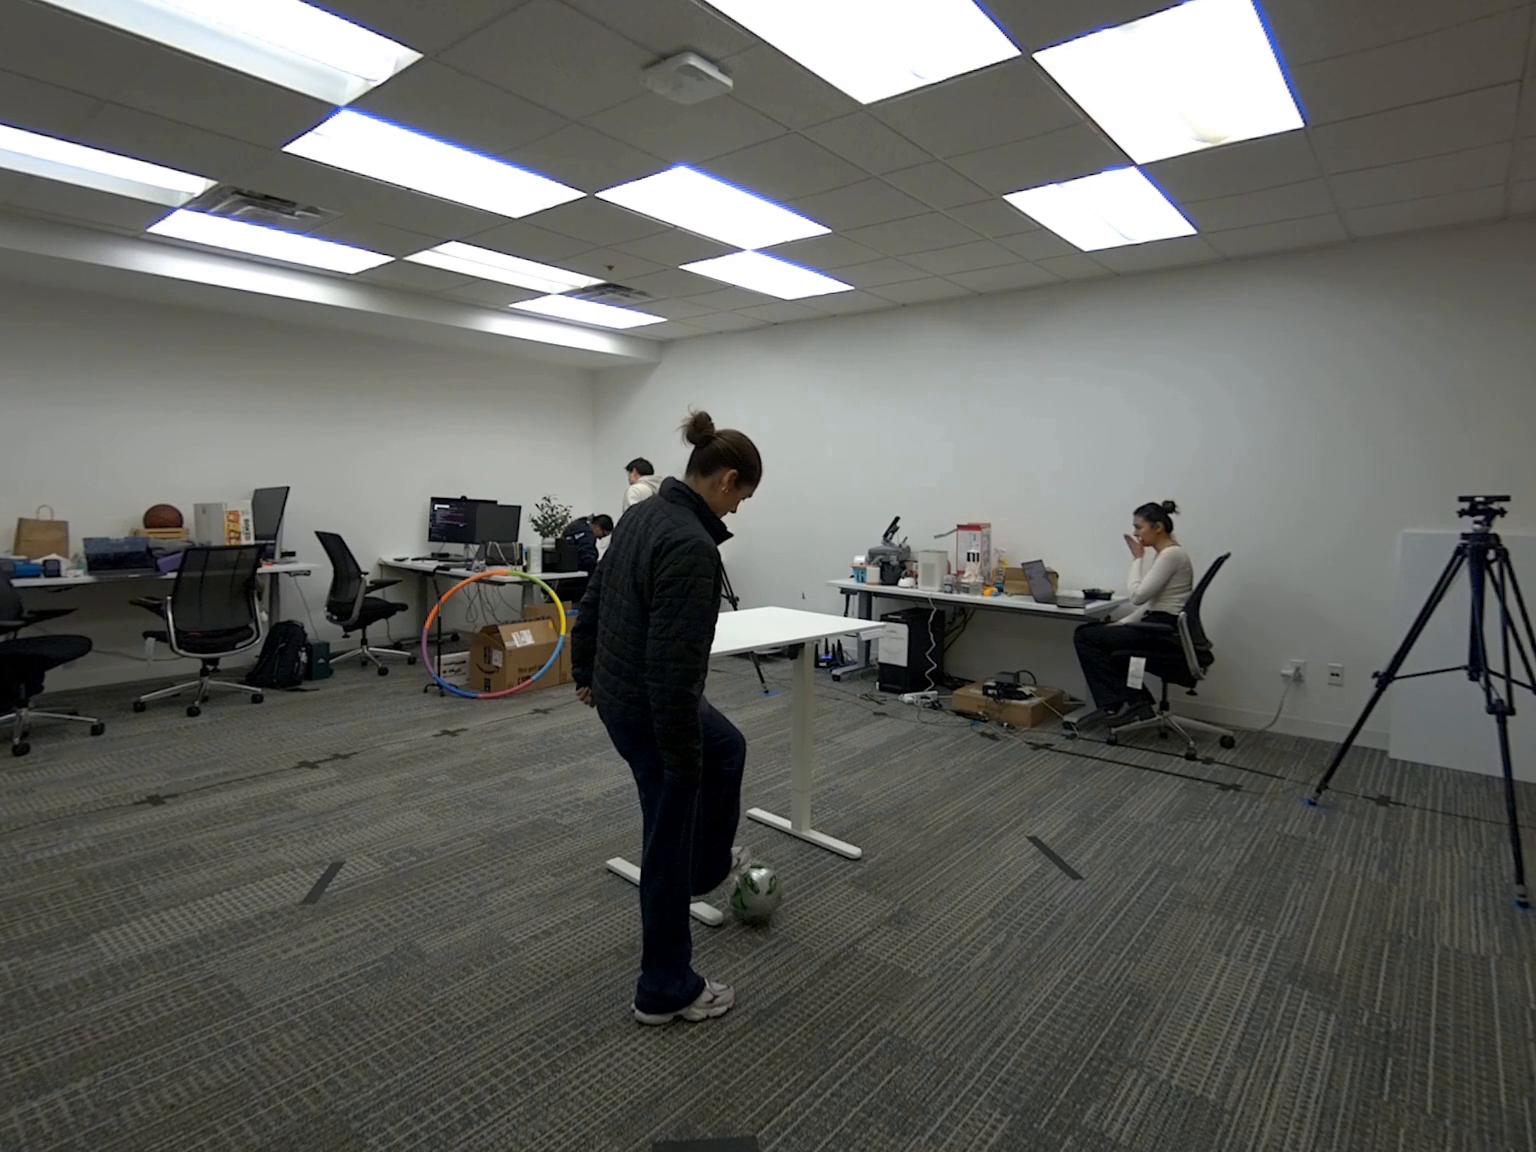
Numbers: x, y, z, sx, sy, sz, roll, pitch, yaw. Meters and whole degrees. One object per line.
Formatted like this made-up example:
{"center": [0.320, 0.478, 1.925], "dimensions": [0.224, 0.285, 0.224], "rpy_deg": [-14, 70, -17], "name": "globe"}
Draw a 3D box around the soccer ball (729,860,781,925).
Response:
{"center": [-0.054, 1.013, 2.739], "dimensions": [0.187, 0.187, 0.188], "rpy_deg": [1, 4, -2], "name": "soccer ball"}
